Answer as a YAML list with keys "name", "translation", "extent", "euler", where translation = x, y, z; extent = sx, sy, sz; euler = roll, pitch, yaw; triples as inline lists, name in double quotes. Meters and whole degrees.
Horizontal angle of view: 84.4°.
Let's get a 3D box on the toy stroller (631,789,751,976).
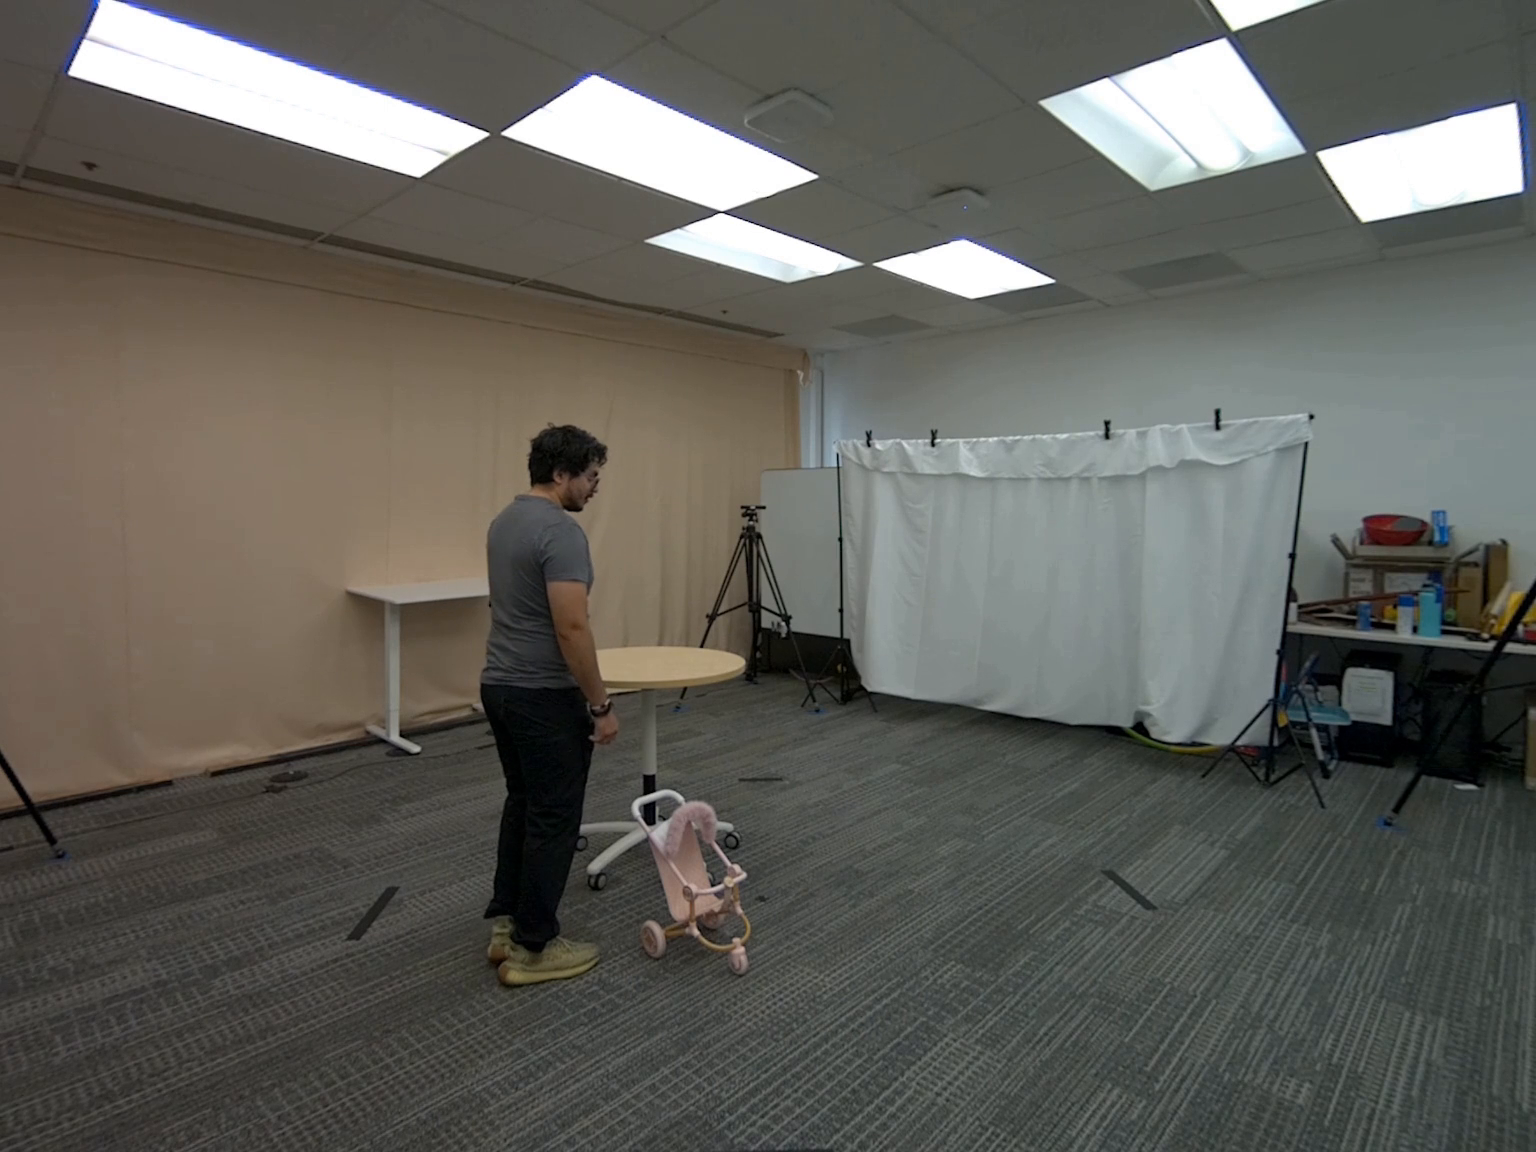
- name: "toy stroller"
  translation: [-0.223, 0.950, 2.625]
  extent: [0.273, 0.539, 0.349]
  euler: [-3, -11, -42]
